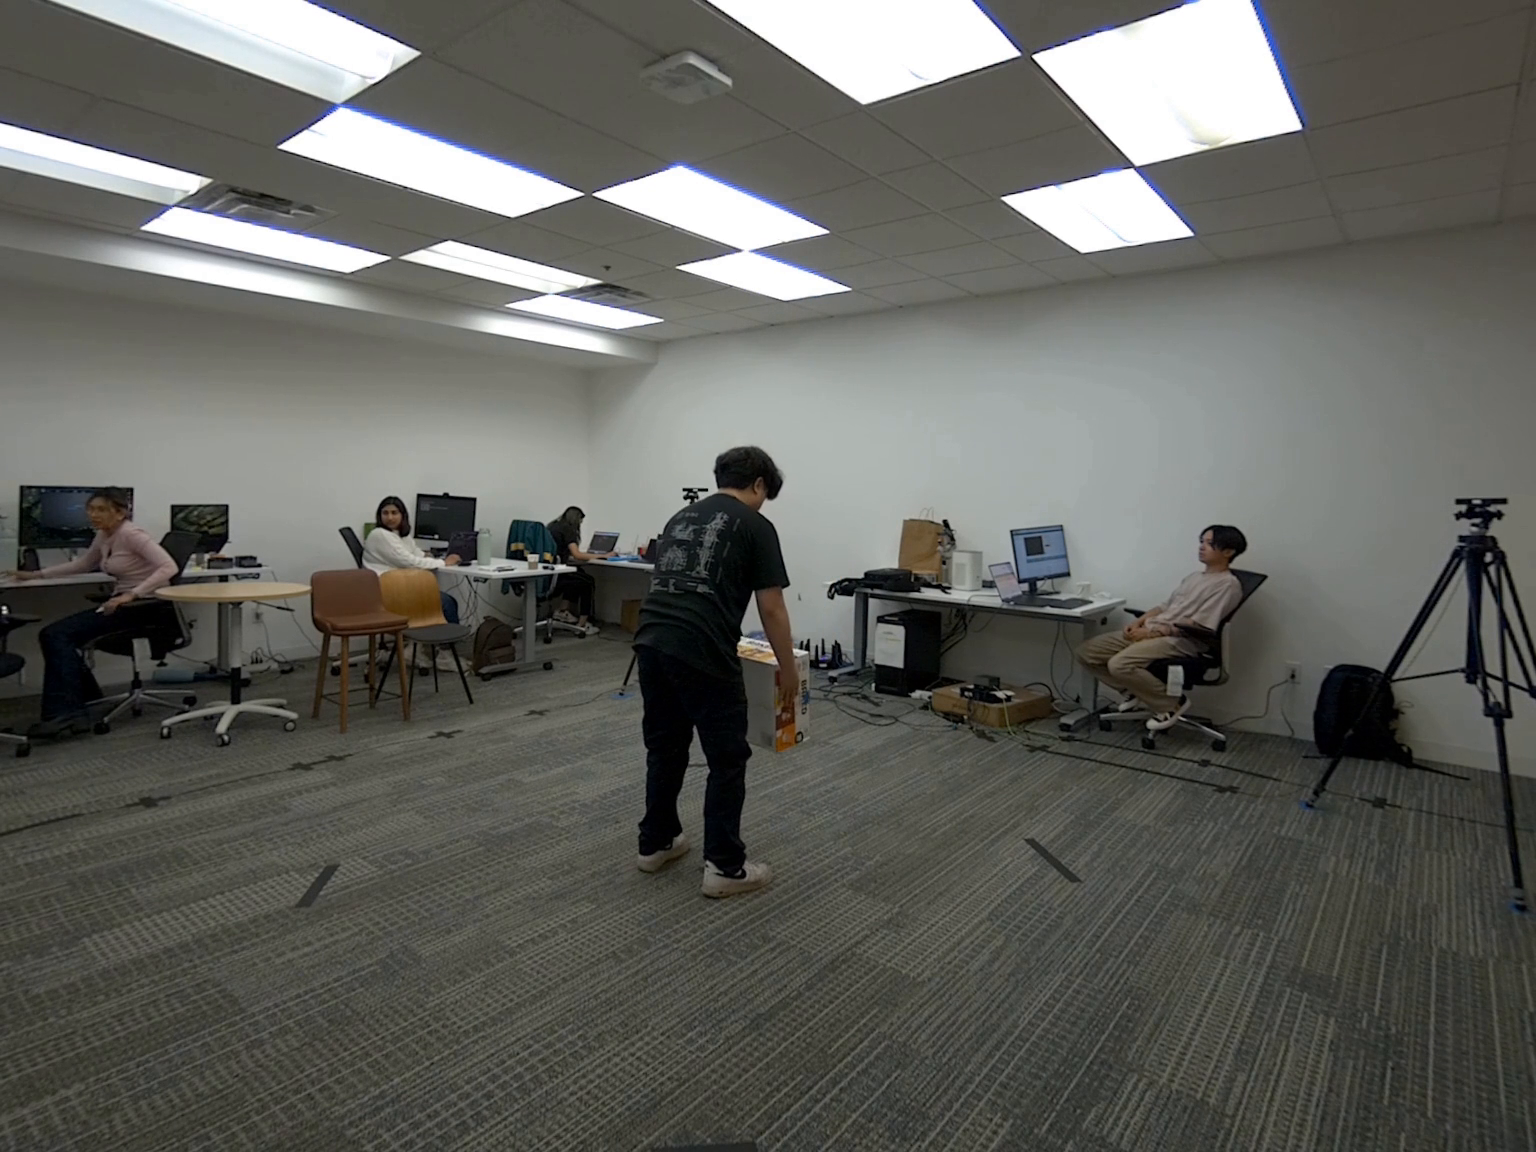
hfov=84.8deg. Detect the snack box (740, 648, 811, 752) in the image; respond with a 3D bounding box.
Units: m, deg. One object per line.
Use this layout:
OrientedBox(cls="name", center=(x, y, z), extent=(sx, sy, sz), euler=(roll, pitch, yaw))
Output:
OrientedBox(cls="snack box", center=(-0.064, 0.447, 3.304), extent=(0.419, 0.338, 0.200), euler=(7, 11, 42))
